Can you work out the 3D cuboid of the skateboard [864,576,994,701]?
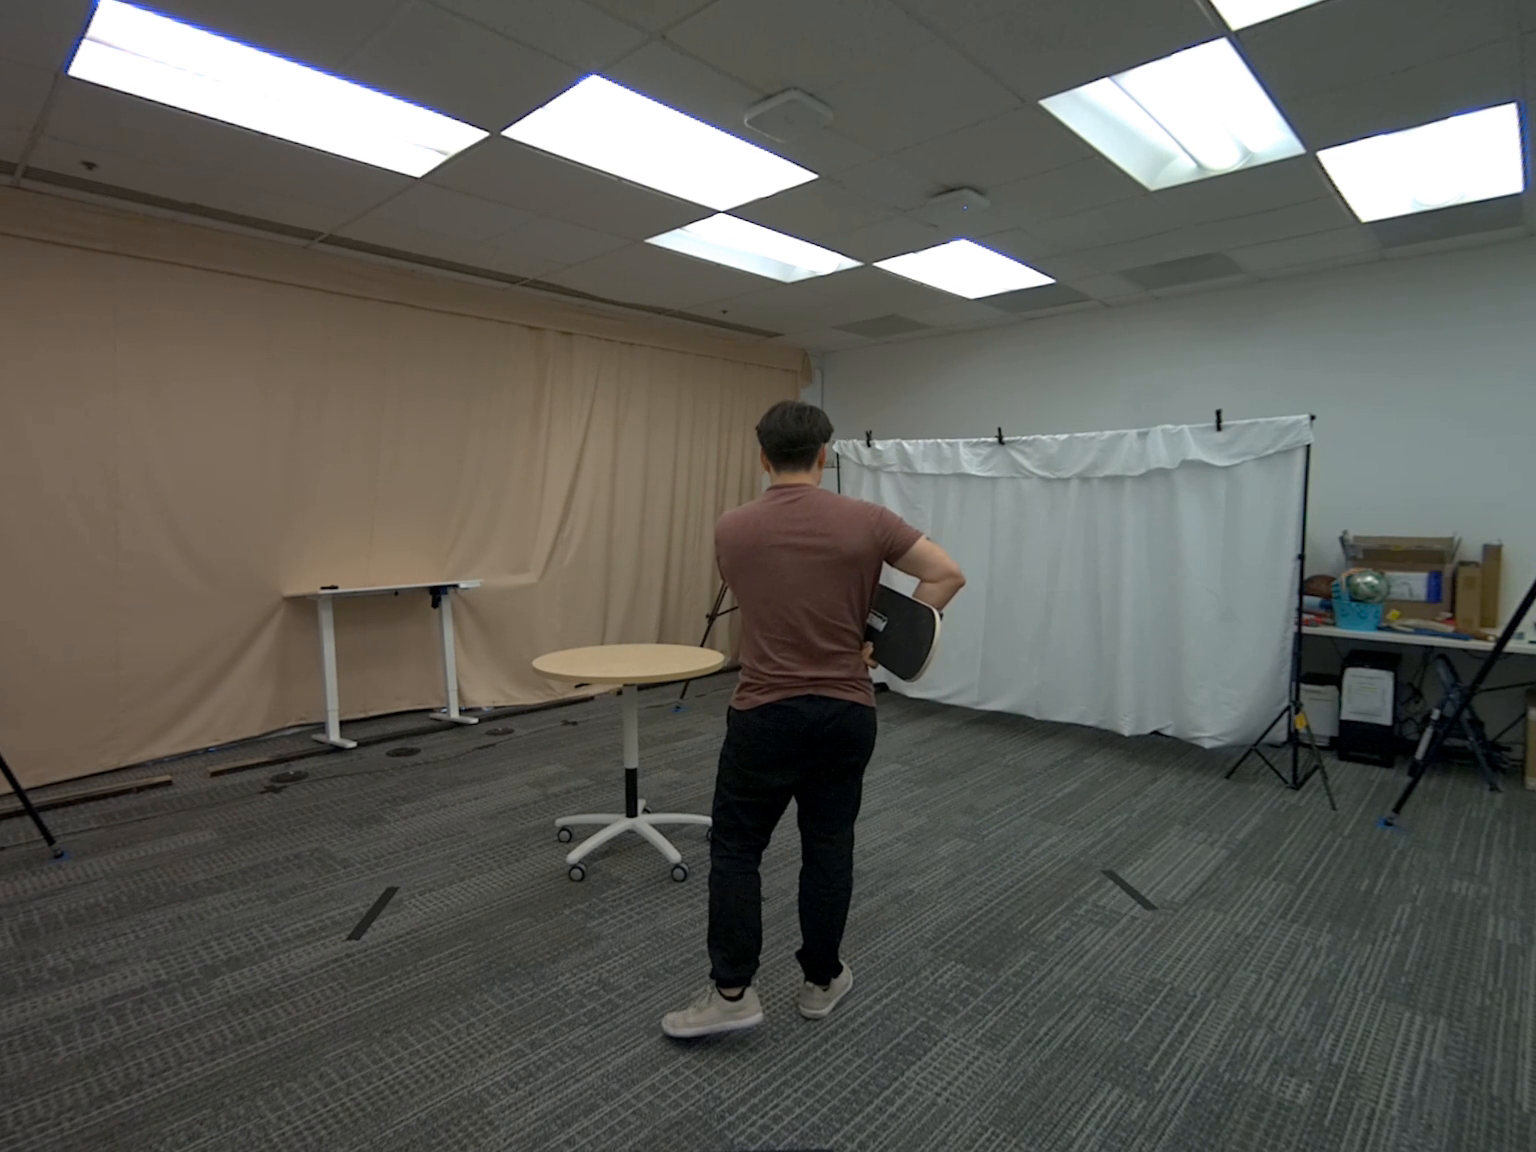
[{"bbox_3d":[0.321,0.113,2.326,0.108,0.193,0.802,20,3,-19],"label":"skateboard"}]
